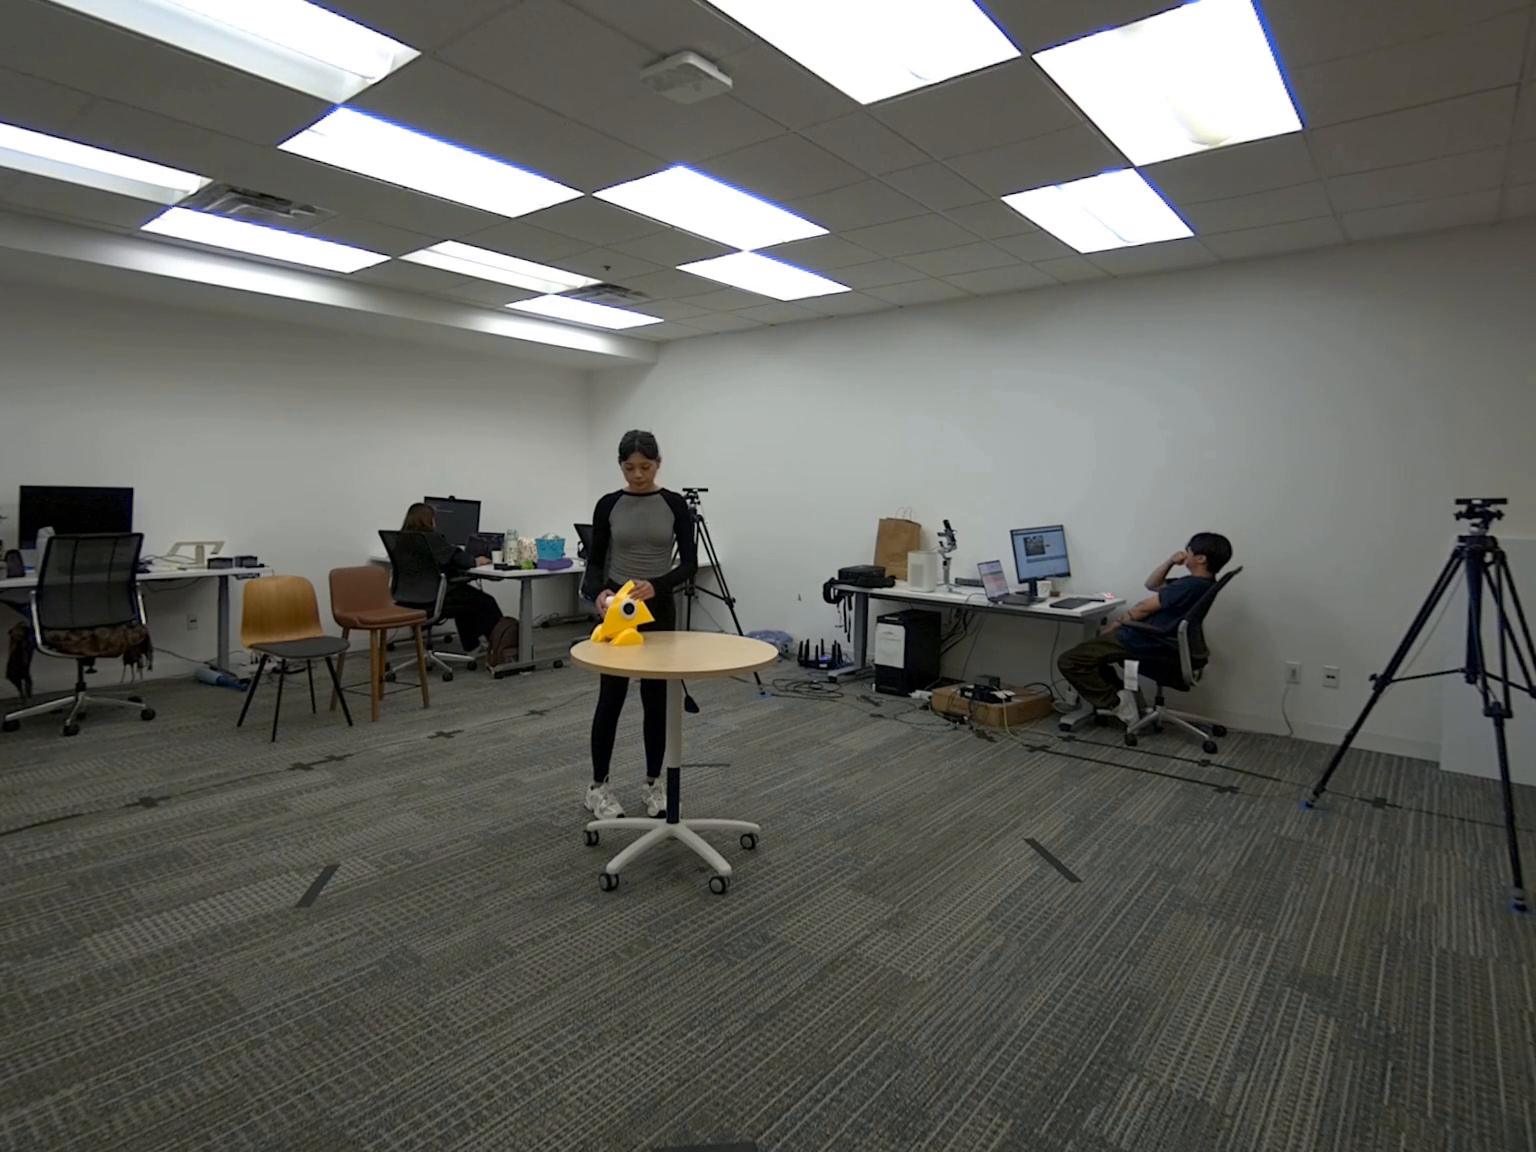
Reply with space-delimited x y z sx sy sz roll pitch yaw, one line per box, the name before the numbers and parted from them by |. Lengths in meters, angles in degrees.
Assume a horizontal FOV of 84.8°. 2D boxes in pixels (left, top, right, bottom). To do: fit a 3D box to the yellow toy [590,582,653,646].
yellow toy | -0.588 0.135 3.322 0.211 0.230 0.187 4 6 39
